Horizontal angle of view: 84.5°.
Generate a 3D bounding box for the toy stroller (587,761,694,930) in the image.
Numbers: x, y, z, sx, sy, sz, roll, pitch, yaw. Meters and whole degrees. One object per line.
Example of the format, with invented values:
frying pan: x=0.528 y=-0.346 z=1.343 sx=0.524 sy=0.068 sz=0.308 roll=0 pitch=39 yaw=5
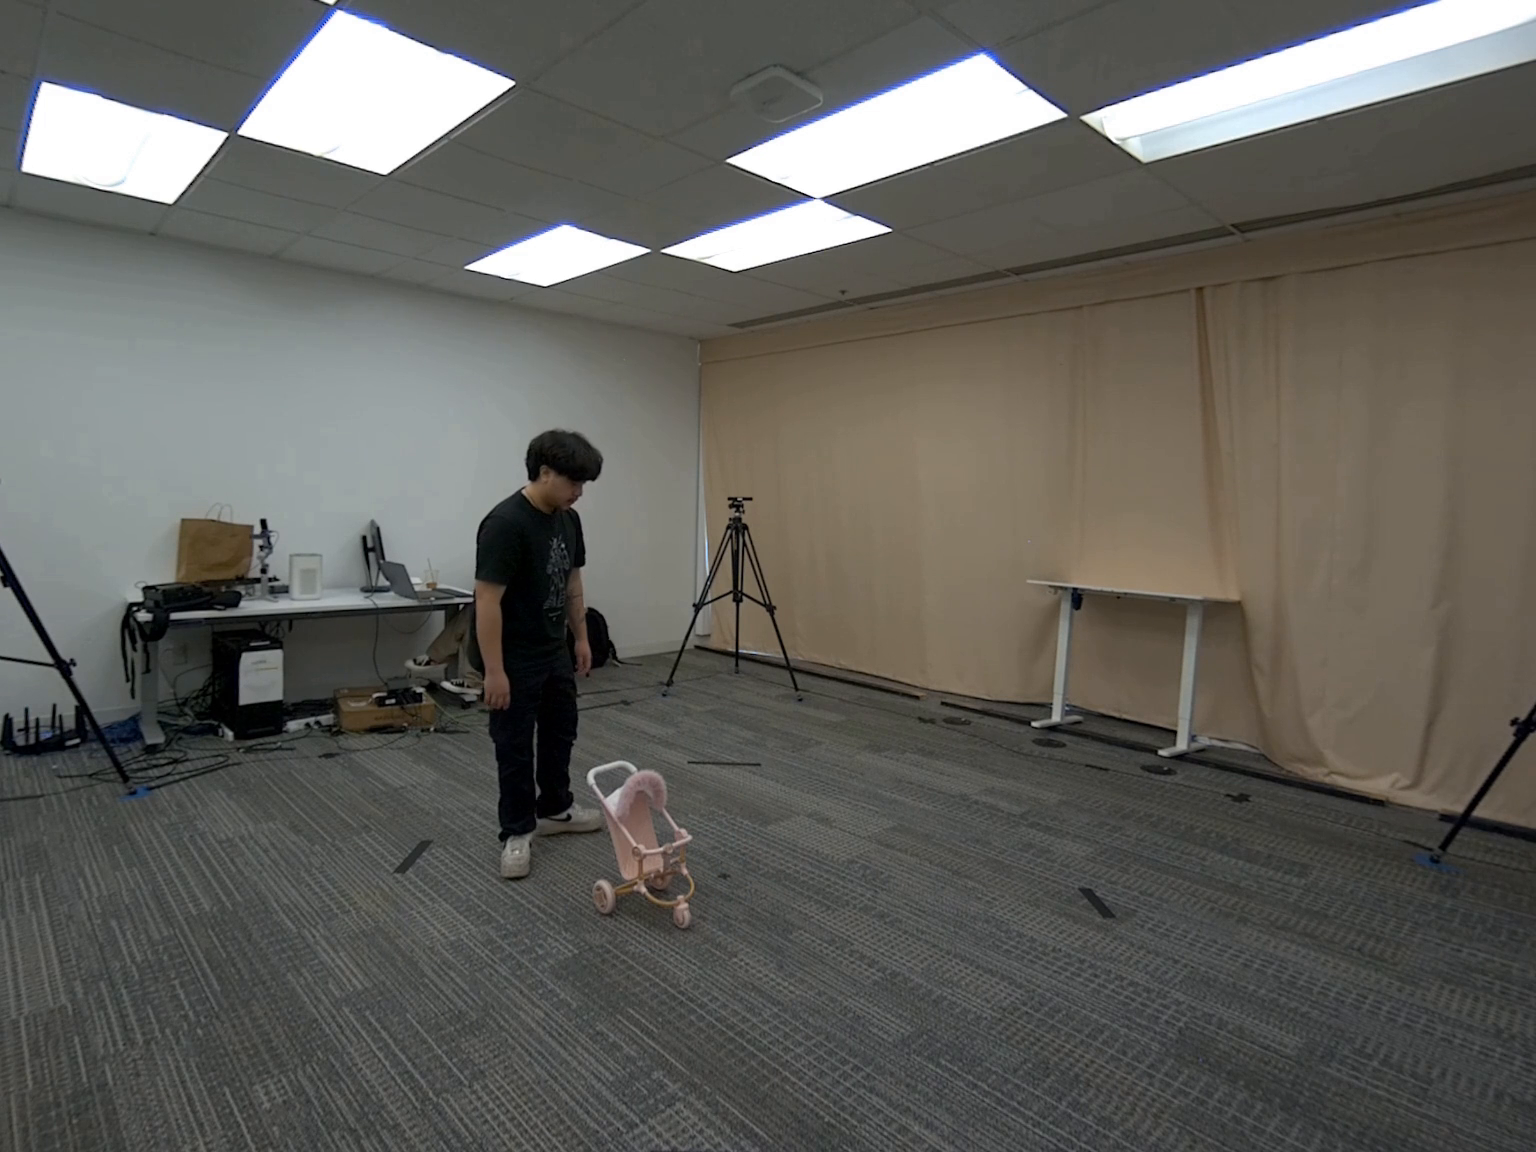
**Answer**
toy stroller: x=-0.419 y=0.899 z=2.840 sx=0.275 sy=0.539 sz=0.347 roll=-2 pitch=-10 yaw=-43
